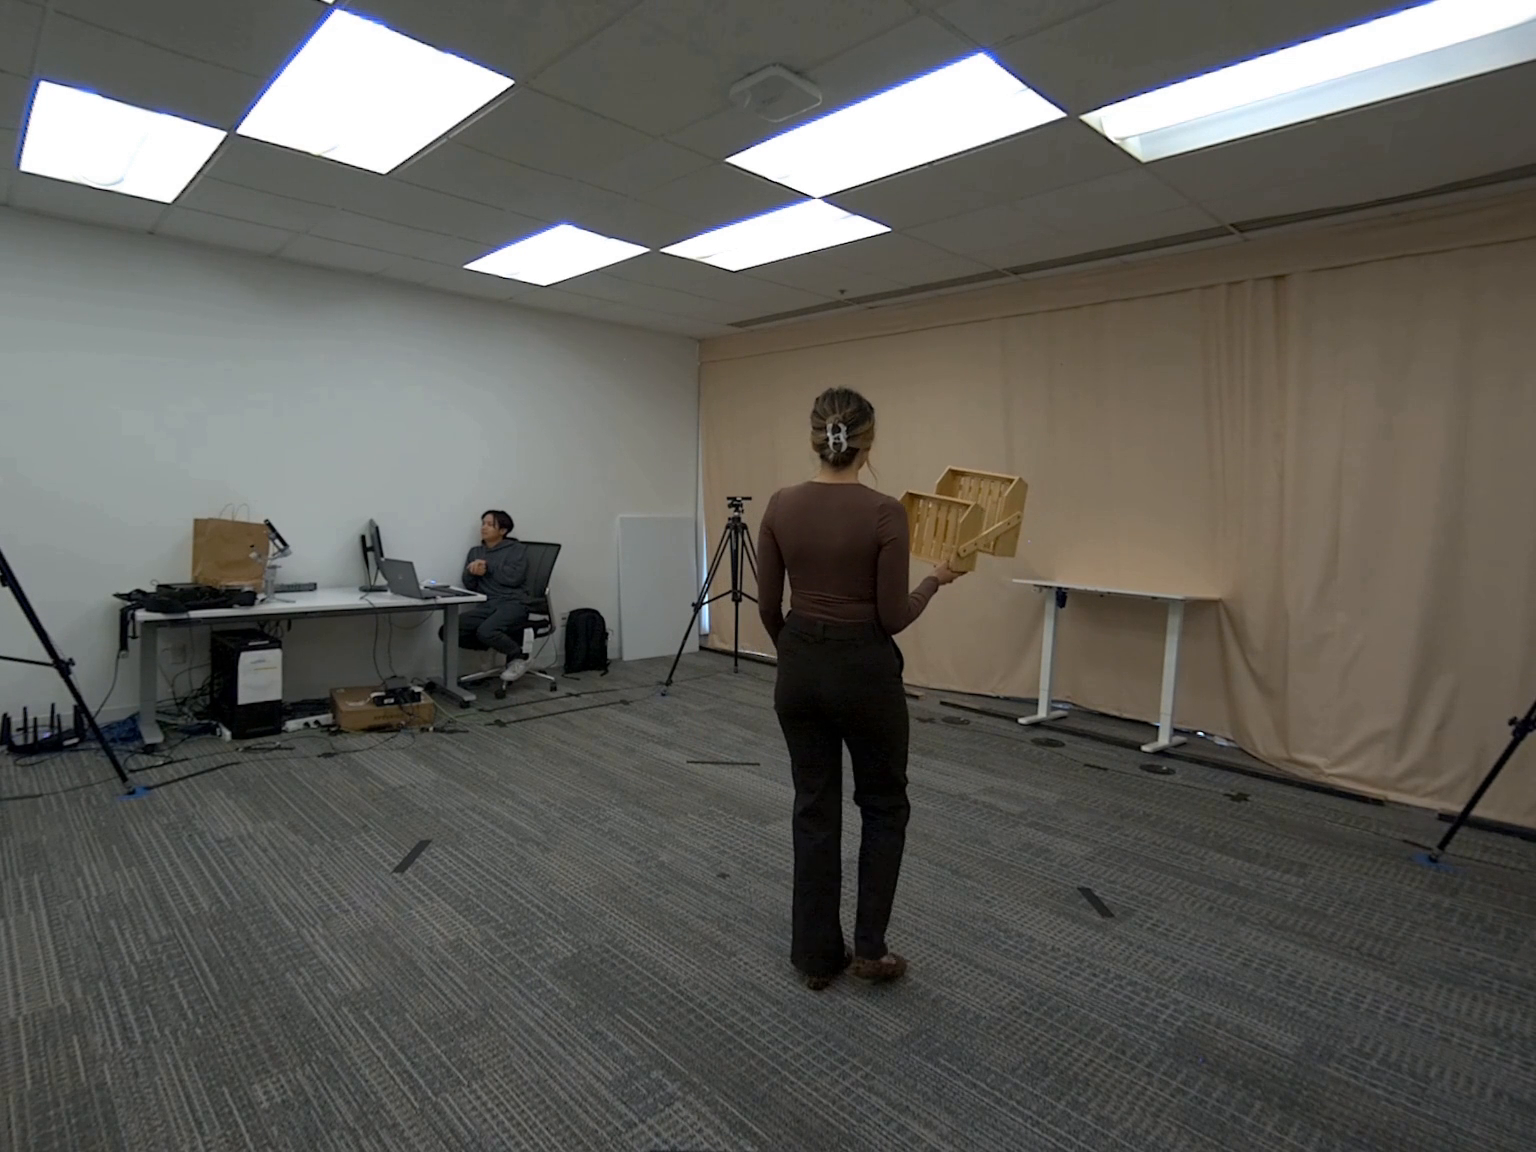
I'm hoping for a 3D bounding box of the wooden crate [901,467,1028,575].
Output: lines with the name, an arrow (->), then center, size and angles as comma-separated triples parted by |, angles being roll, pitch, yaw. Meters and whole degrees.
wooden crate -> 0.584, -0.190, 2.664 | 0.267, 0.300, 0.333 | 2, 10, -32
